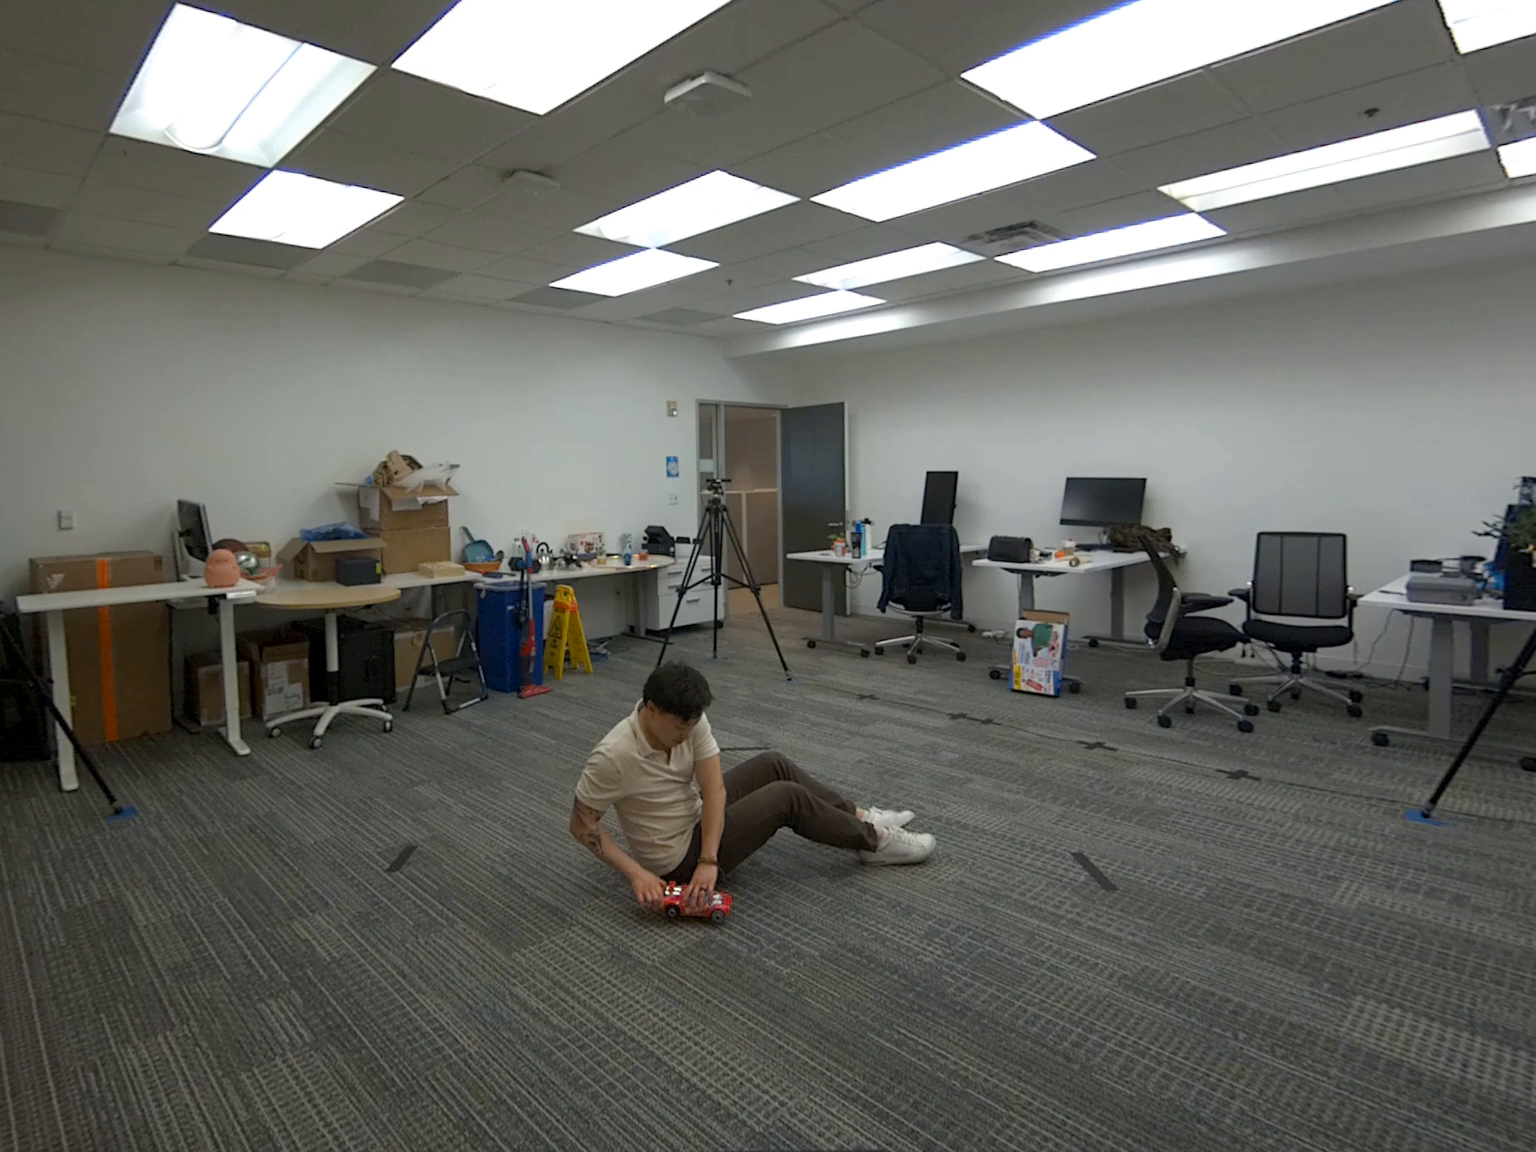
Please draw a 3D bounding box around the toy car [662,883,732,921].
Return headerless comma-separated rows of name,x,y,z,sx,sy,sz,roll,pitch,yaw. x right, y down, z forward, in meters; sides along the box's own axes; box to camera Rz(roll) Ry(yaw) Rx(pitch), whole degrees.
toy car,-0.250,1.044,2.726,0.255,0.083,0.130,11,7,2
